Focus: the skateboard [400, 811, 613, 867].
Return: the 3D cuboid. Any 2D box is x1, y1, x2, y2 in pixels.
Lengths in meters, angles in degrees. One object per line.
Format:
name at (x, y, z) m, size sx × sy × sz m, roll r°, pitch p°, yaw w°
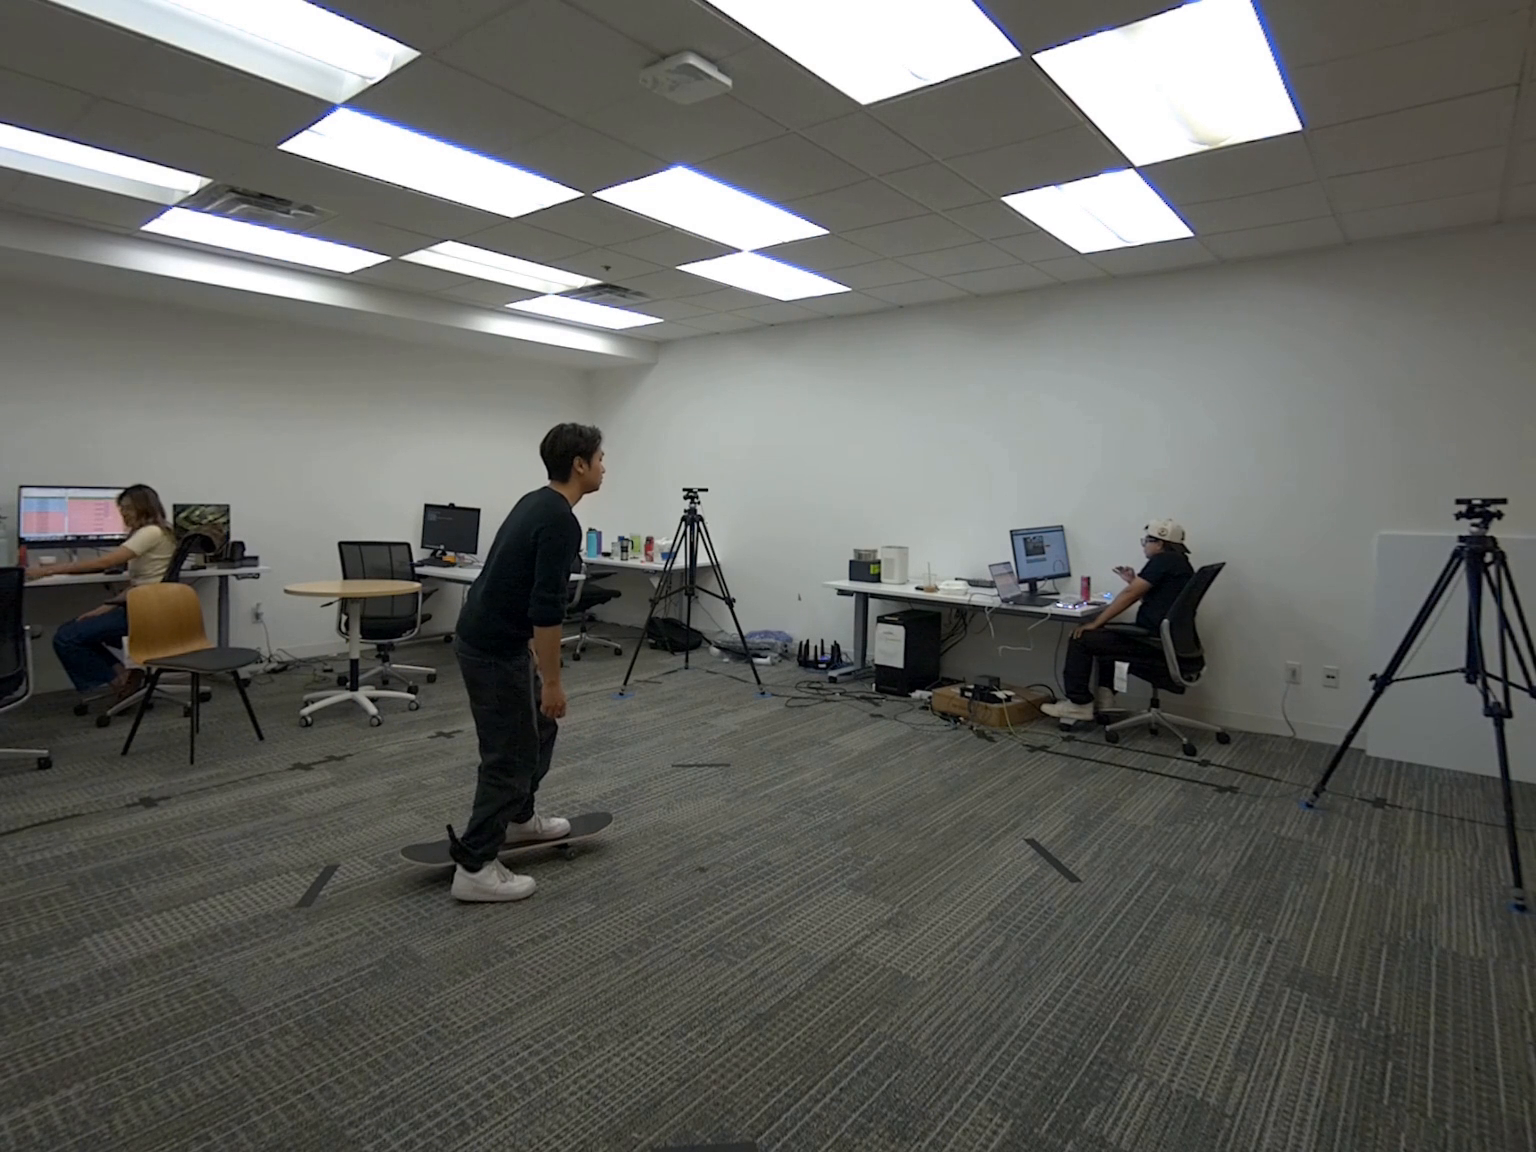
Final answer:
skateboard at (-0.956, 0.999, 3.136) m, size 0.765 × 0.110 × 0.199 m, roll -2°, pitch 7°, yaw -29°
